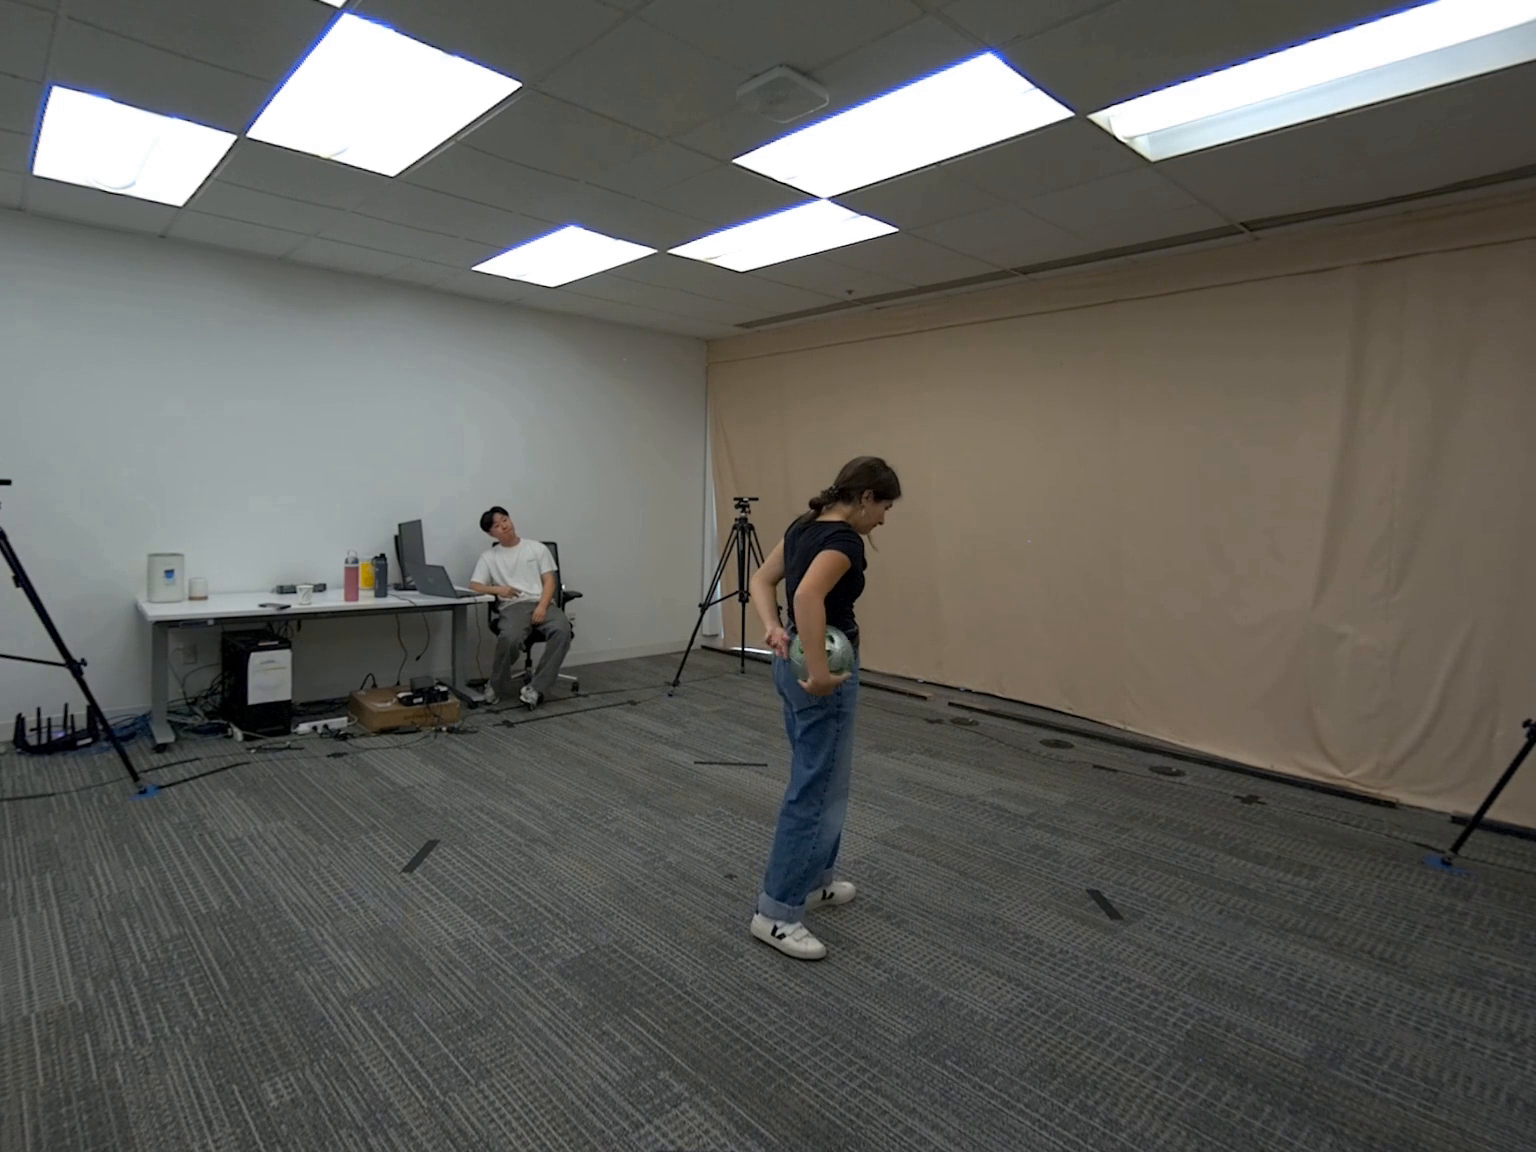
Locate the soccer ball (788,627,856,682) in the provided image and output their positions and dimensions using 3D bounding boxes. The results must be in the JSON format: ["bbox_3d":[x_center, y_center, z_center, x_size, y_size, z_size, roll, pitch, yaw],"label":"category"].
[{"bbox_3d":[0.155,0.241,2.480,0.187,0.187,0.188,1,4,-1],"label":"soccer ball"}]
